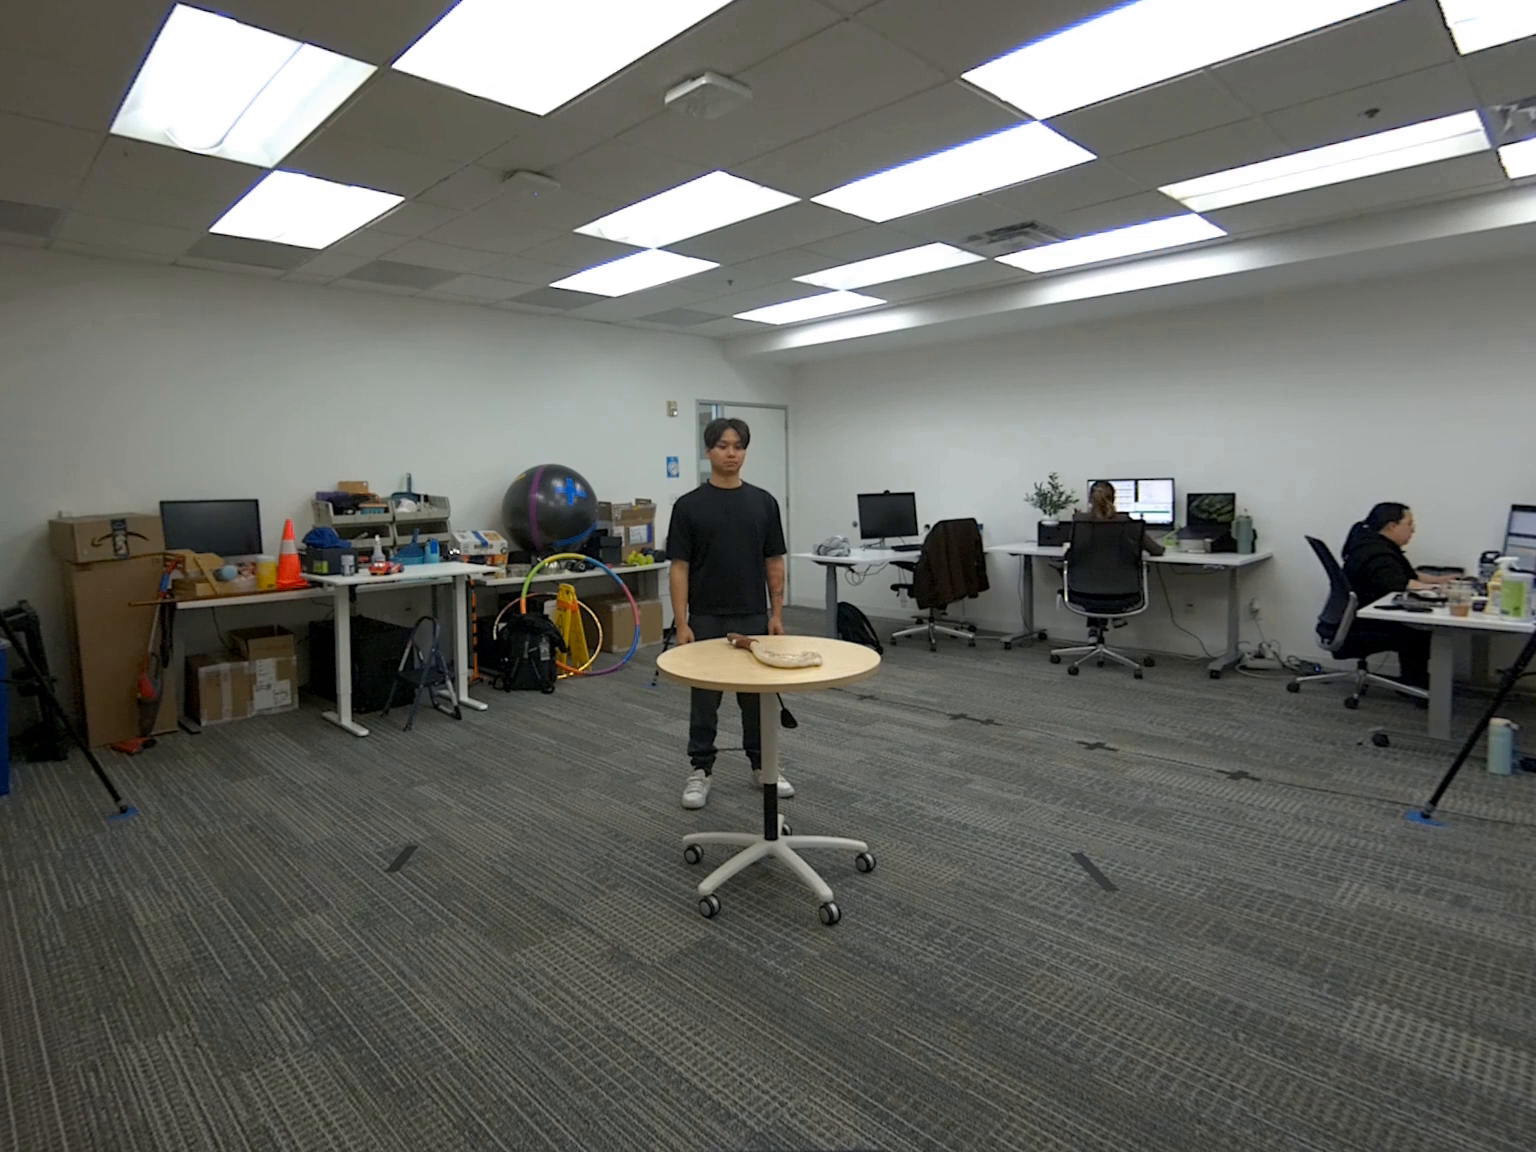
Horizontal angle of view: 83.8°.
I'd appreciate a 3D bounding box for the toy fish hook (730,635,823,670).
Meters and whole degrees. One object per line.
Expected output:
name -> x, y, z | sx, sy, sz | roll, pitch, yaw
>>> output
toy fish hook -> 0.018, 0.263, 2.998 | 0.220, 0.048, 0.519 | 0, 7, -23
